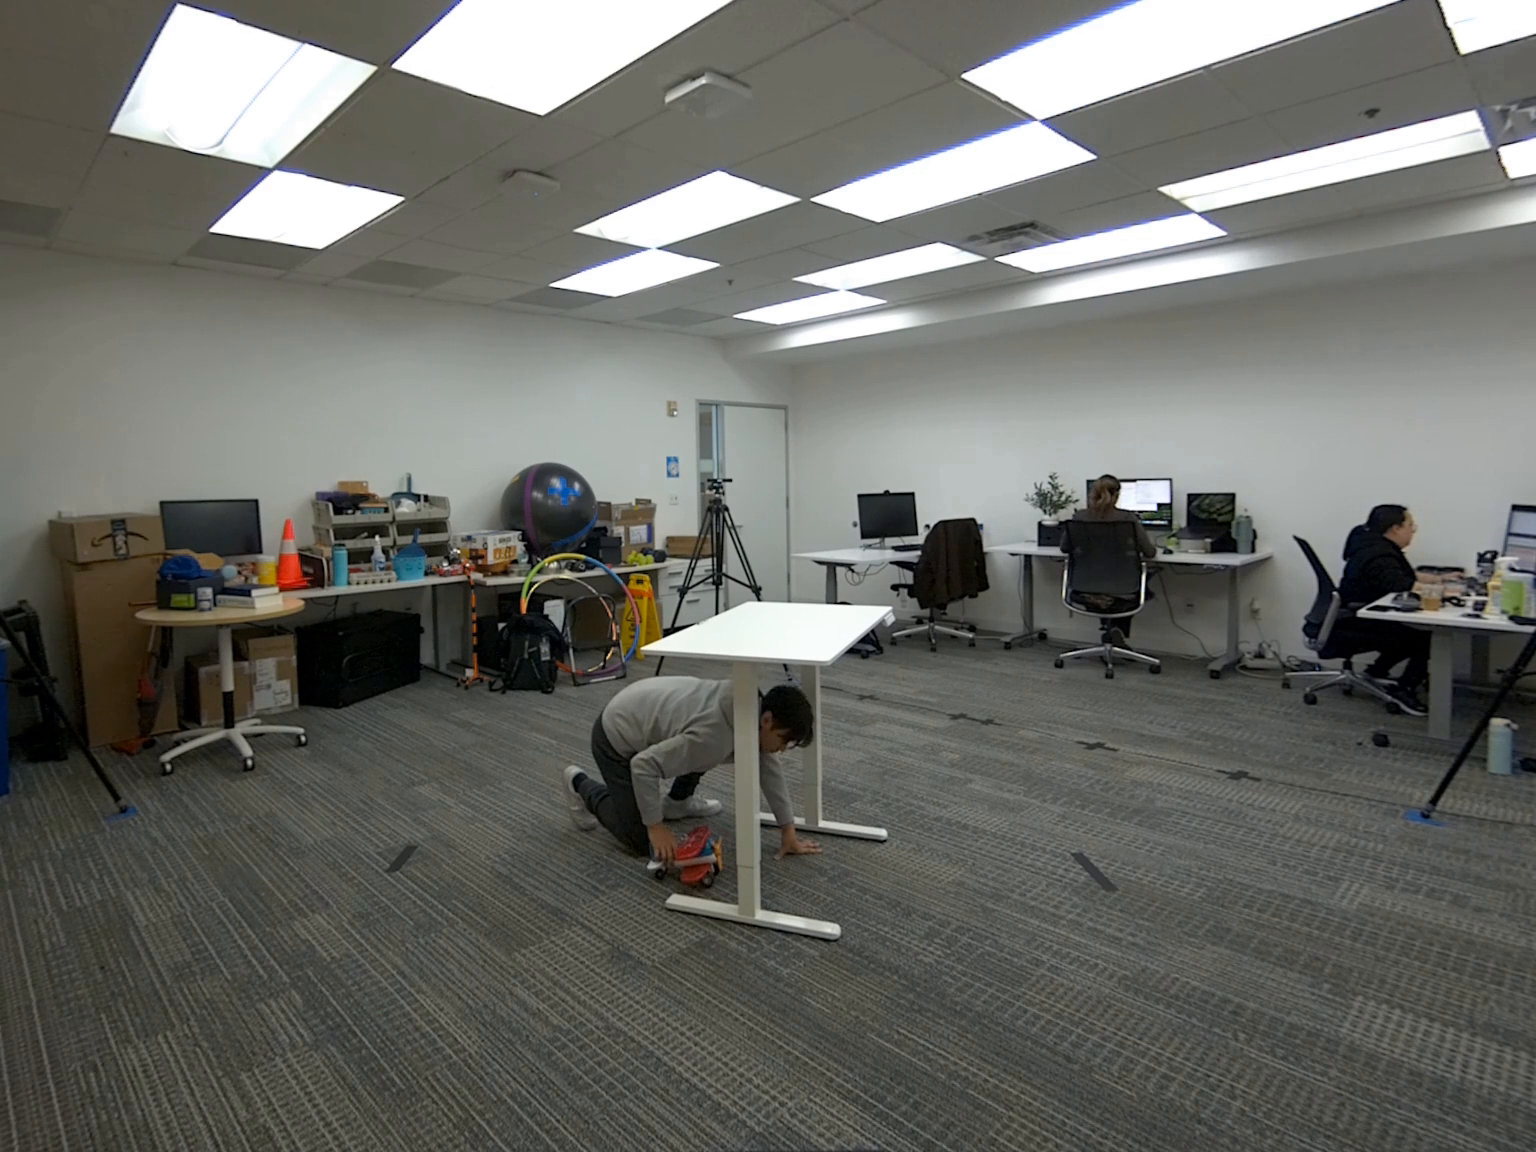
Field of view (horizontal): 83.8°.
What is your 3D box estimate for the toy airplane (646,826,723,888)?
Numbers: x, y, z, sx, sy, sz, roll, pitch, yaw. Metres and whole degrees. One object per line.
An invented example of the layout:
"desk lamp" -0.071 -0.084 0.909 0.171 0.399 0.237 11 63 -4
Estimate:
"toy airplane" -0.281 0.998 2.967 0.255 0.156 0.256 -4 5 -17
